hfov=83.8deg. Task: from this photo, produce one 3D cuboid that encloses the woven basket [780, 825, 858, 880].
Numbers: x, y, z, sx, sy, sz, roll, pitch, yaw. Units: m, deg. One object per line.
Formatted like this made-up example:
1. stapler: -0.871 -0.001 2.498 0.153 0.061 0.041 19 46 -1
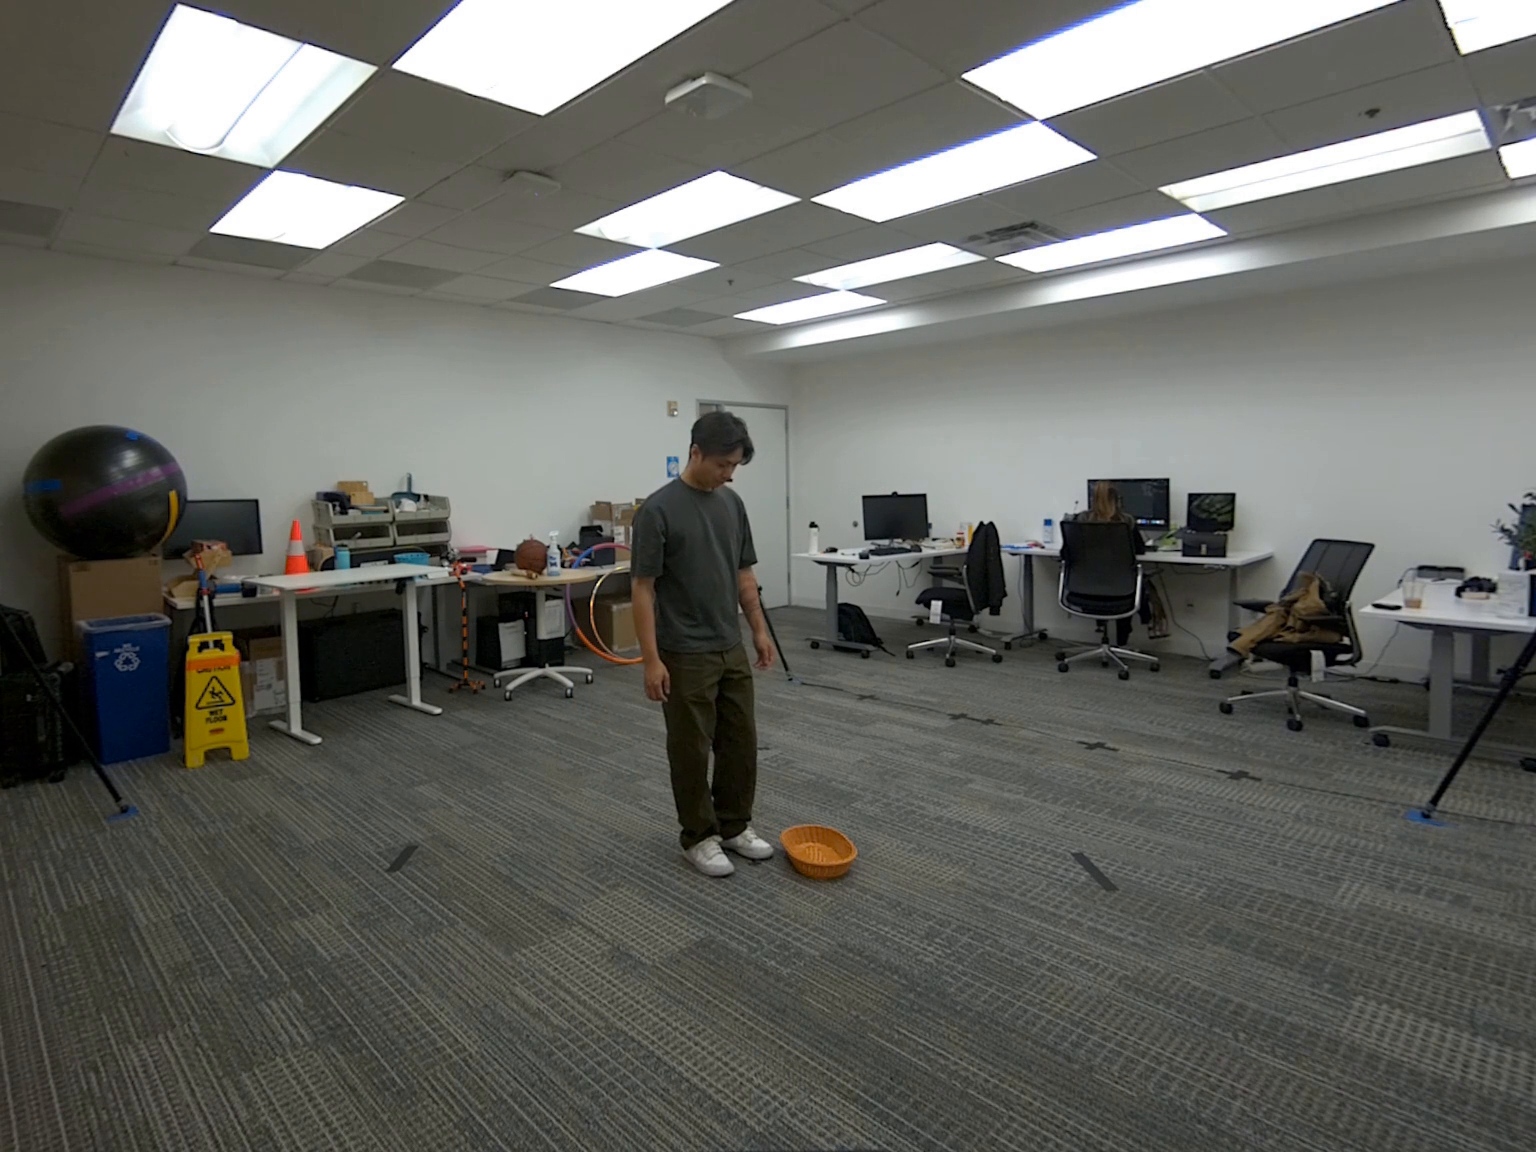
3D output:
1. woven basket: 0.181 0.996 3.105 0.249 0.073 0.357 -2 6 -16
